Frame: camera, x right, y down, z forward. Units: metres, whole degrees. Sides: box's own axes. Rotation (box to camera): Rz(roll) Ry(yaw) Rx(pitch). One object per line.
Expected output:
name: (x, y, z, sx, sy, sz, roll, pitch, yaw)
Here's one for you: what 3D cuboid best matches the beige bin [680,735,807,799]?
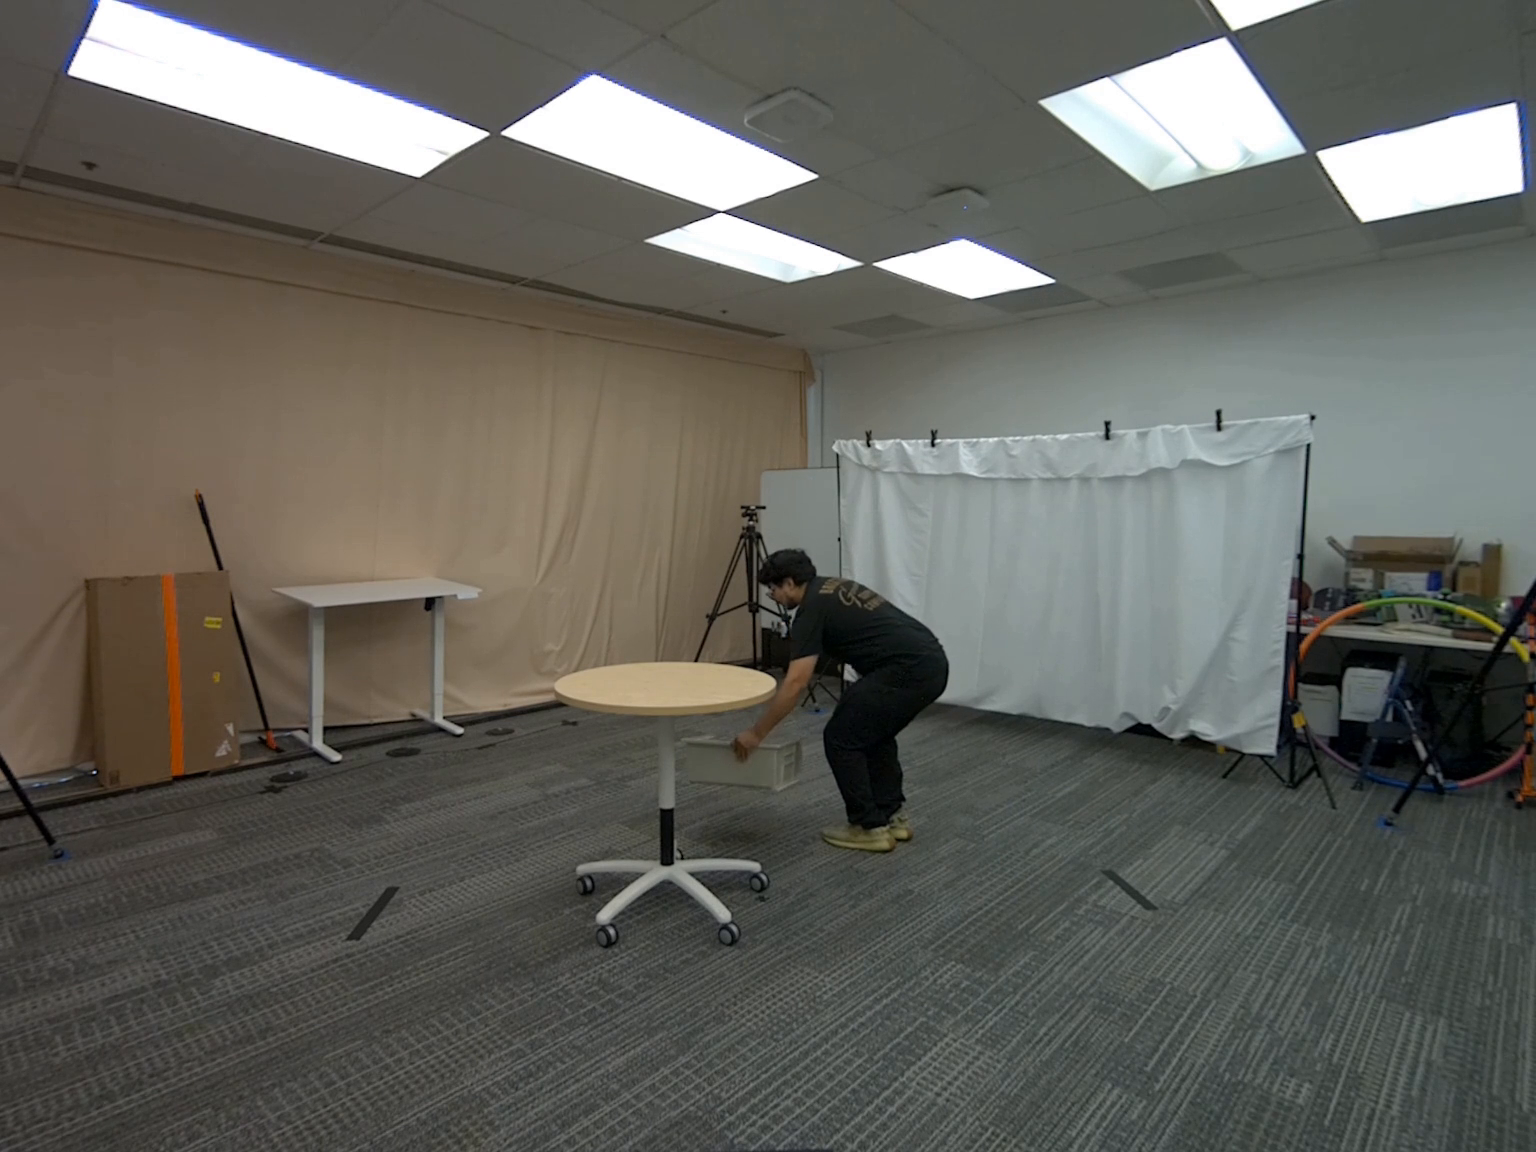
beige bin: (-0.095, 0.785, 3.538, 0.431, 0.190, 0.368, -1, -7, 19)
